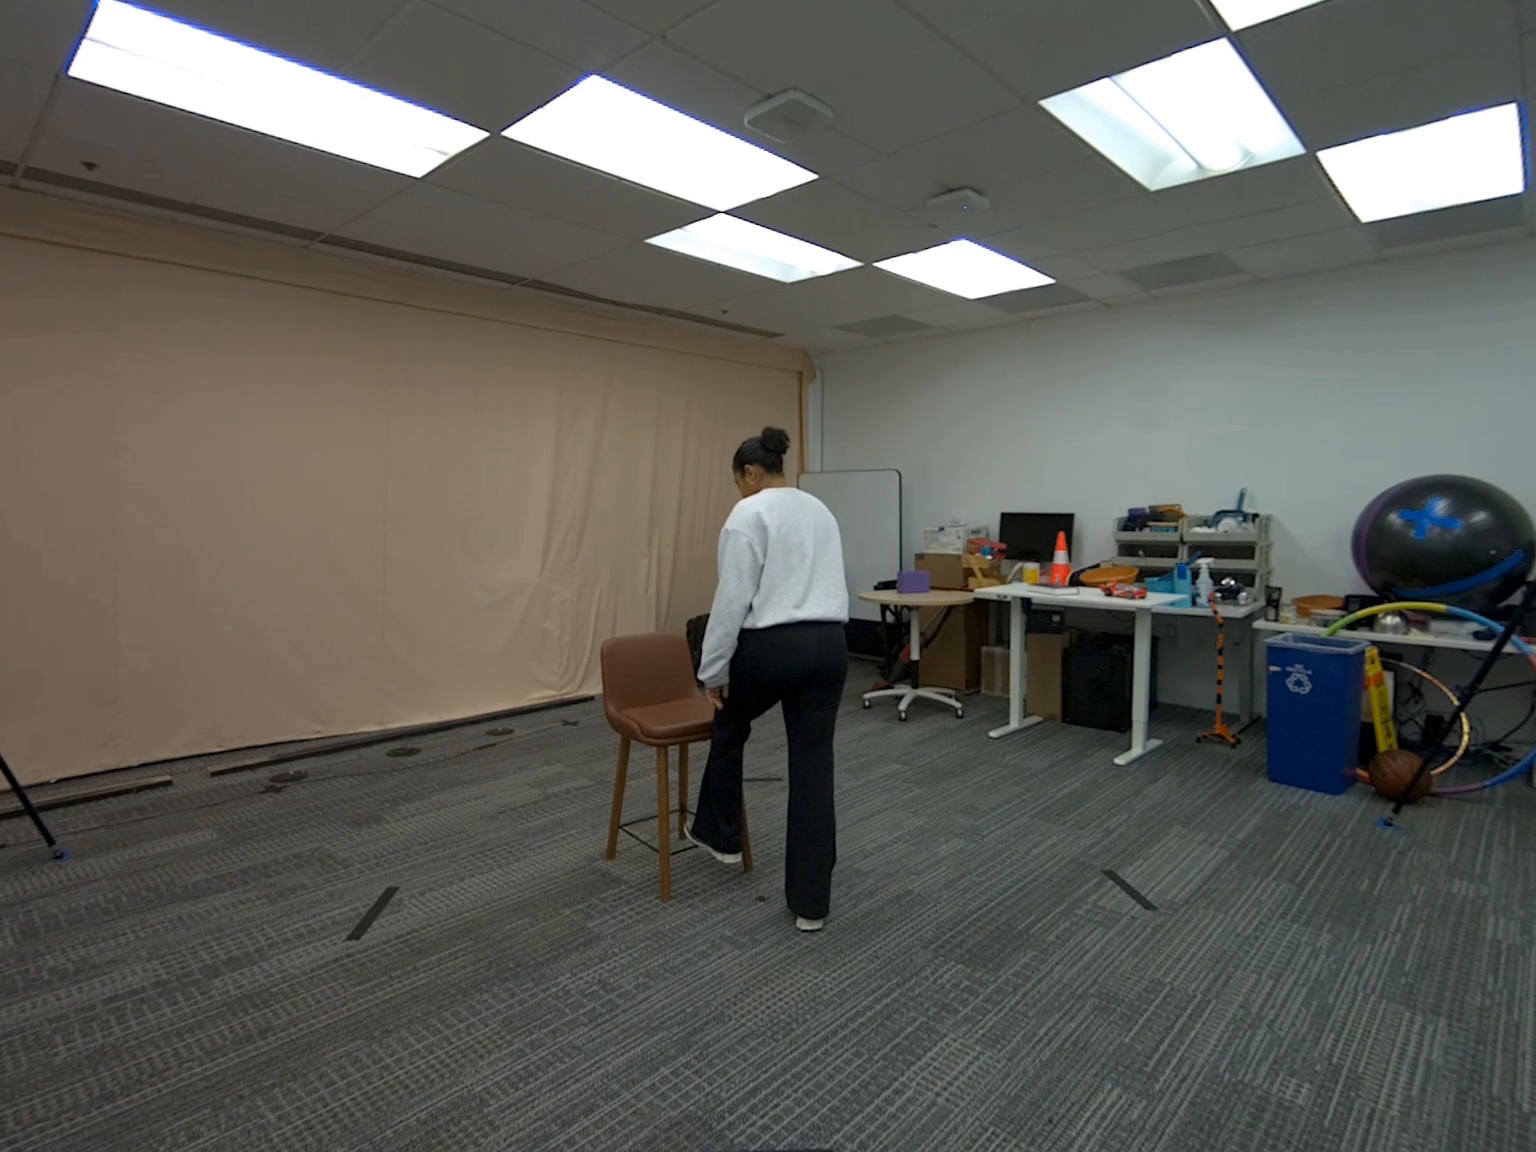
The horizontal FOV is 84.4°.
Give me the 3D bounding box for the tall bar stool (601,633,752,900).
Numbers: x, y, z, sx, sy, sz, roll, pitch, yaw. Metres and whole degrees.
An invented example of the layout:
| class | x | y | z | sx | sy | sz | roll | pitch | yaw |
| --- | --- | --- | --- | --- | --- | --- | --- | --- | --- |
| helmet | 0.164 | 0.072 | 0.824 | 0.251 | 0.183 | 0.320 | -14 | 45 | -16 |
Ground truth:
| class | x | y | z | sx | sy | sz | roll | pitch | yaw |
| --- | --- | --- | --- | --- | --- | --- | --- | --- | --- |
| tall bar stool | -0.364 | 0.688 | 3.254 | 0.443 | 0.889 | 0.482 | -3 | 2 | -38 |
